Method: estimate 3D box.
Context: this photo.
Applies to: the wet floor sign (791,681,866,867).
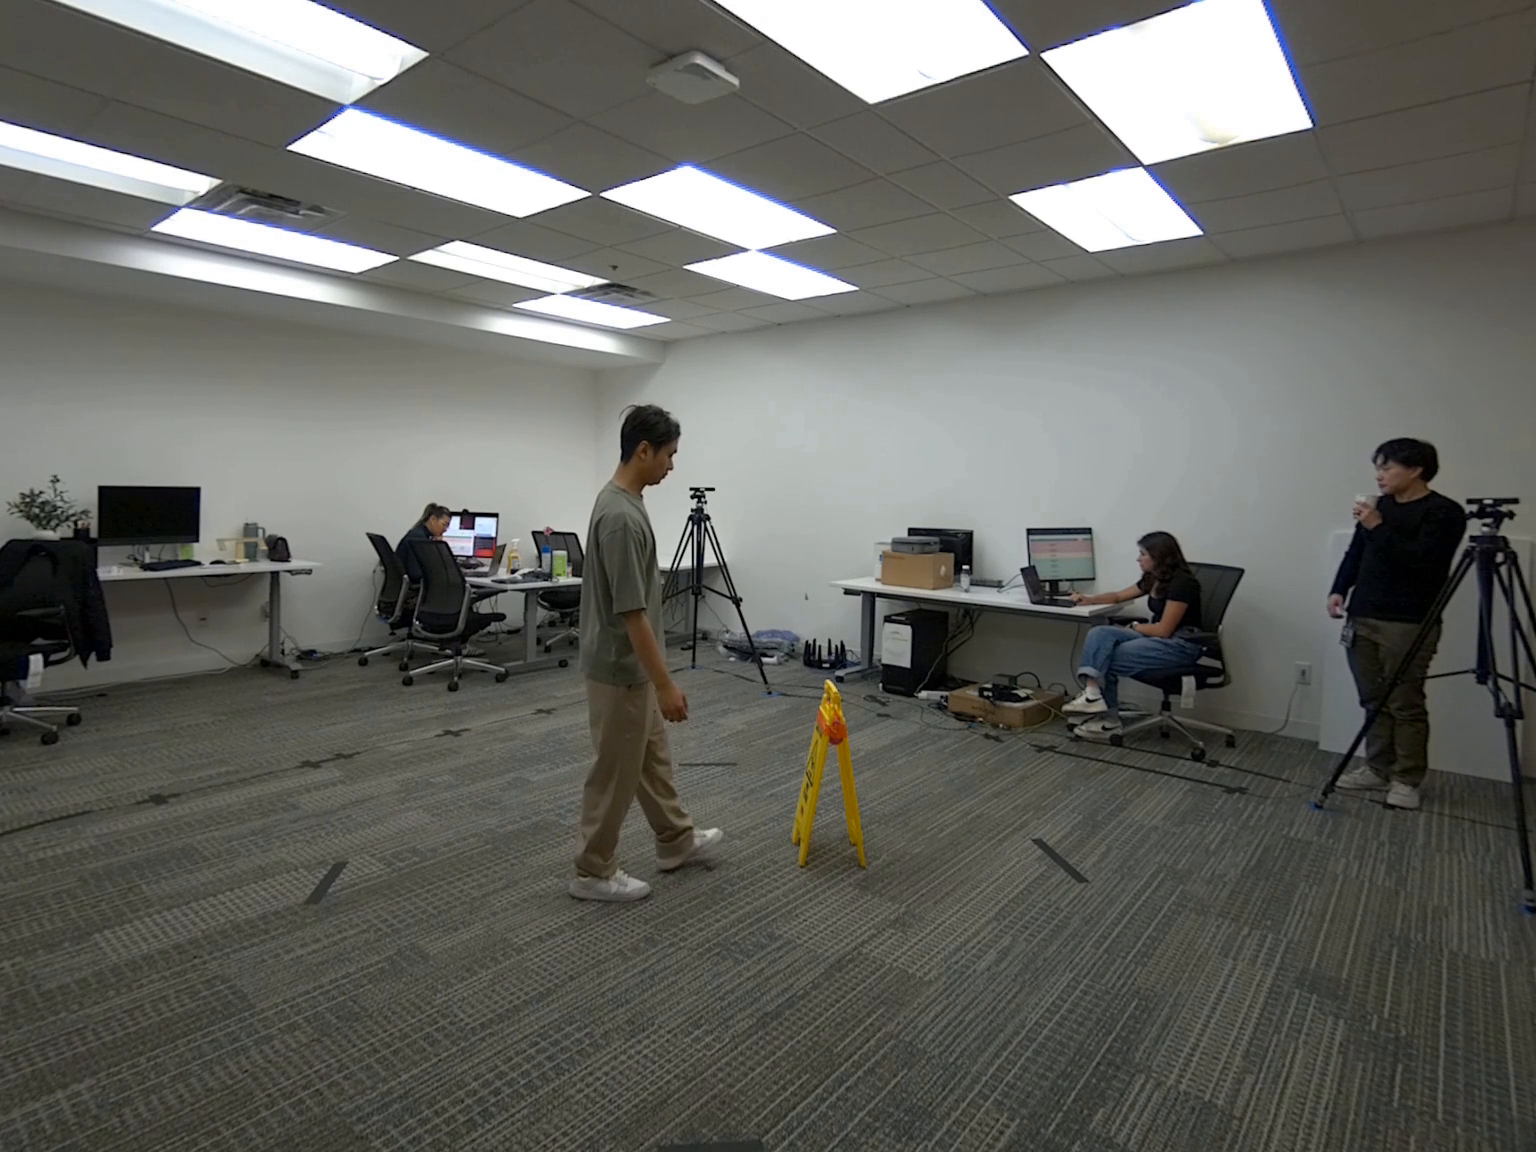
[{"bbox_3d":[0.229,0.732,3.261,0.288,0.644,0.284,0,3,-5],"label":"wet floor sign"}]
